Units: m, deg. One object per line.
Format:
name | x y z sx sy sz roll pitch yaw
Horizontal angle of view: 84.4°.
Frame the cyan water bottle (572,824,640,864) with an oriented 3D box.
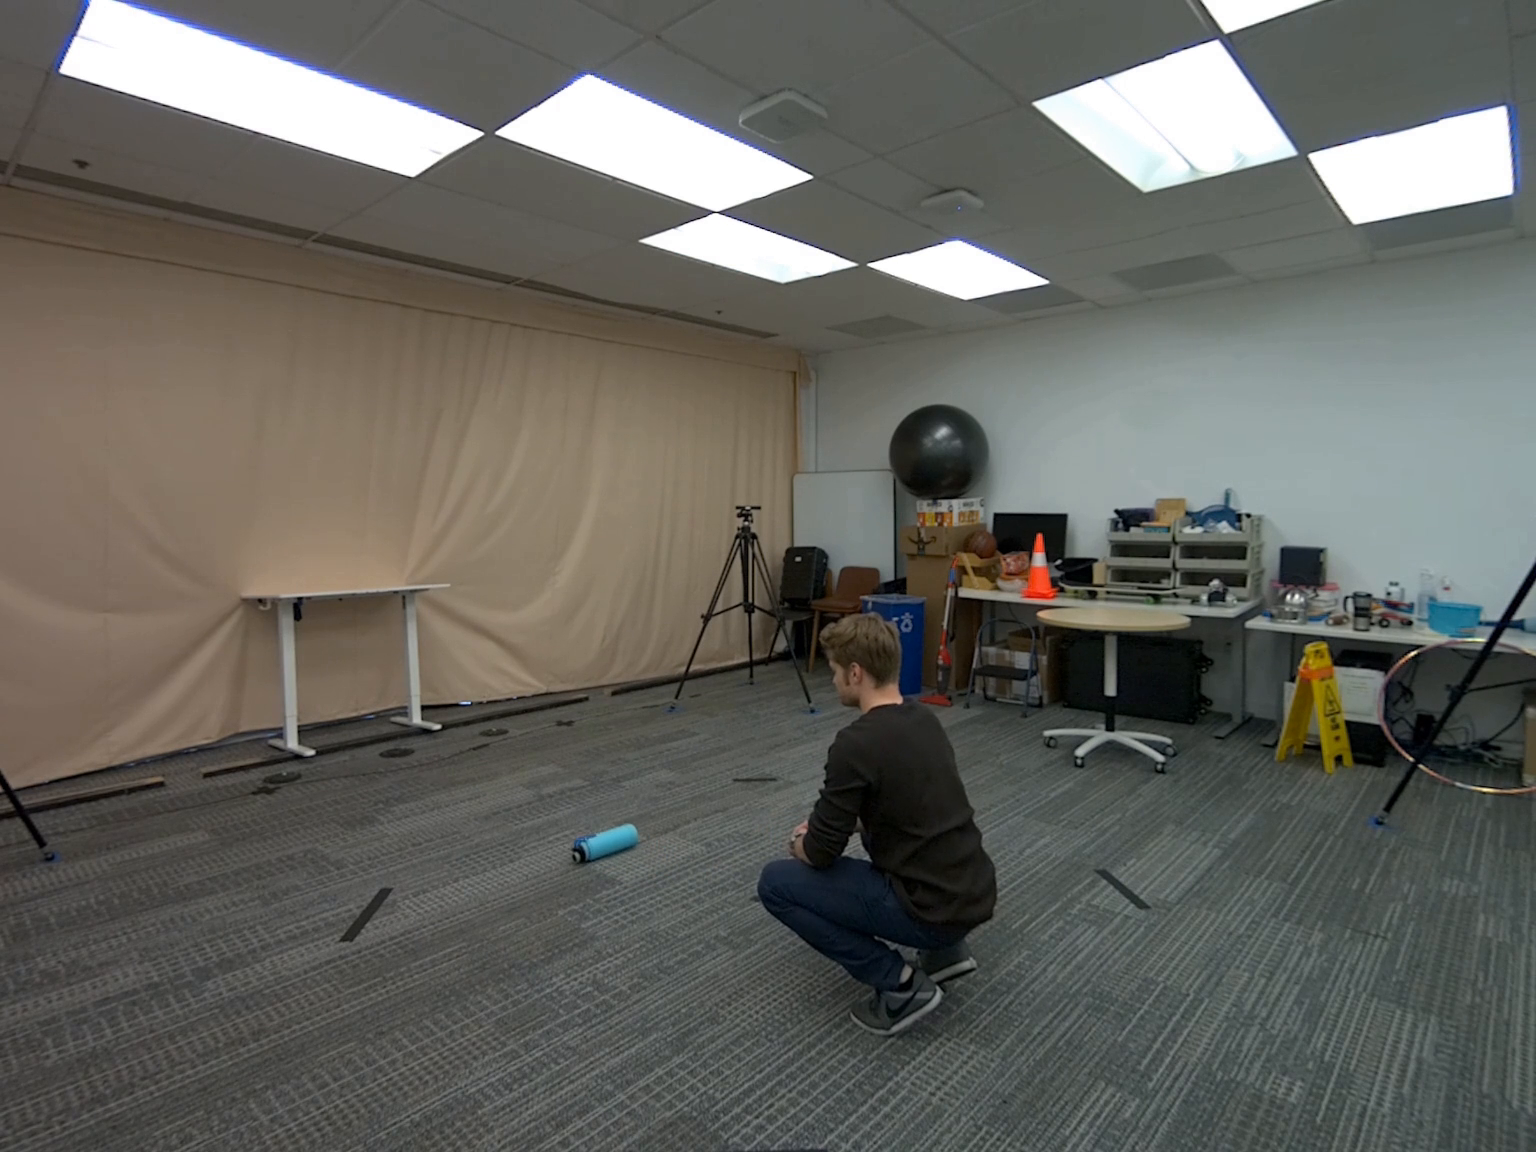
cyan water bottle | -0.660 1.071 3.385 0.275 0.092 0.095 -5 6 -41
